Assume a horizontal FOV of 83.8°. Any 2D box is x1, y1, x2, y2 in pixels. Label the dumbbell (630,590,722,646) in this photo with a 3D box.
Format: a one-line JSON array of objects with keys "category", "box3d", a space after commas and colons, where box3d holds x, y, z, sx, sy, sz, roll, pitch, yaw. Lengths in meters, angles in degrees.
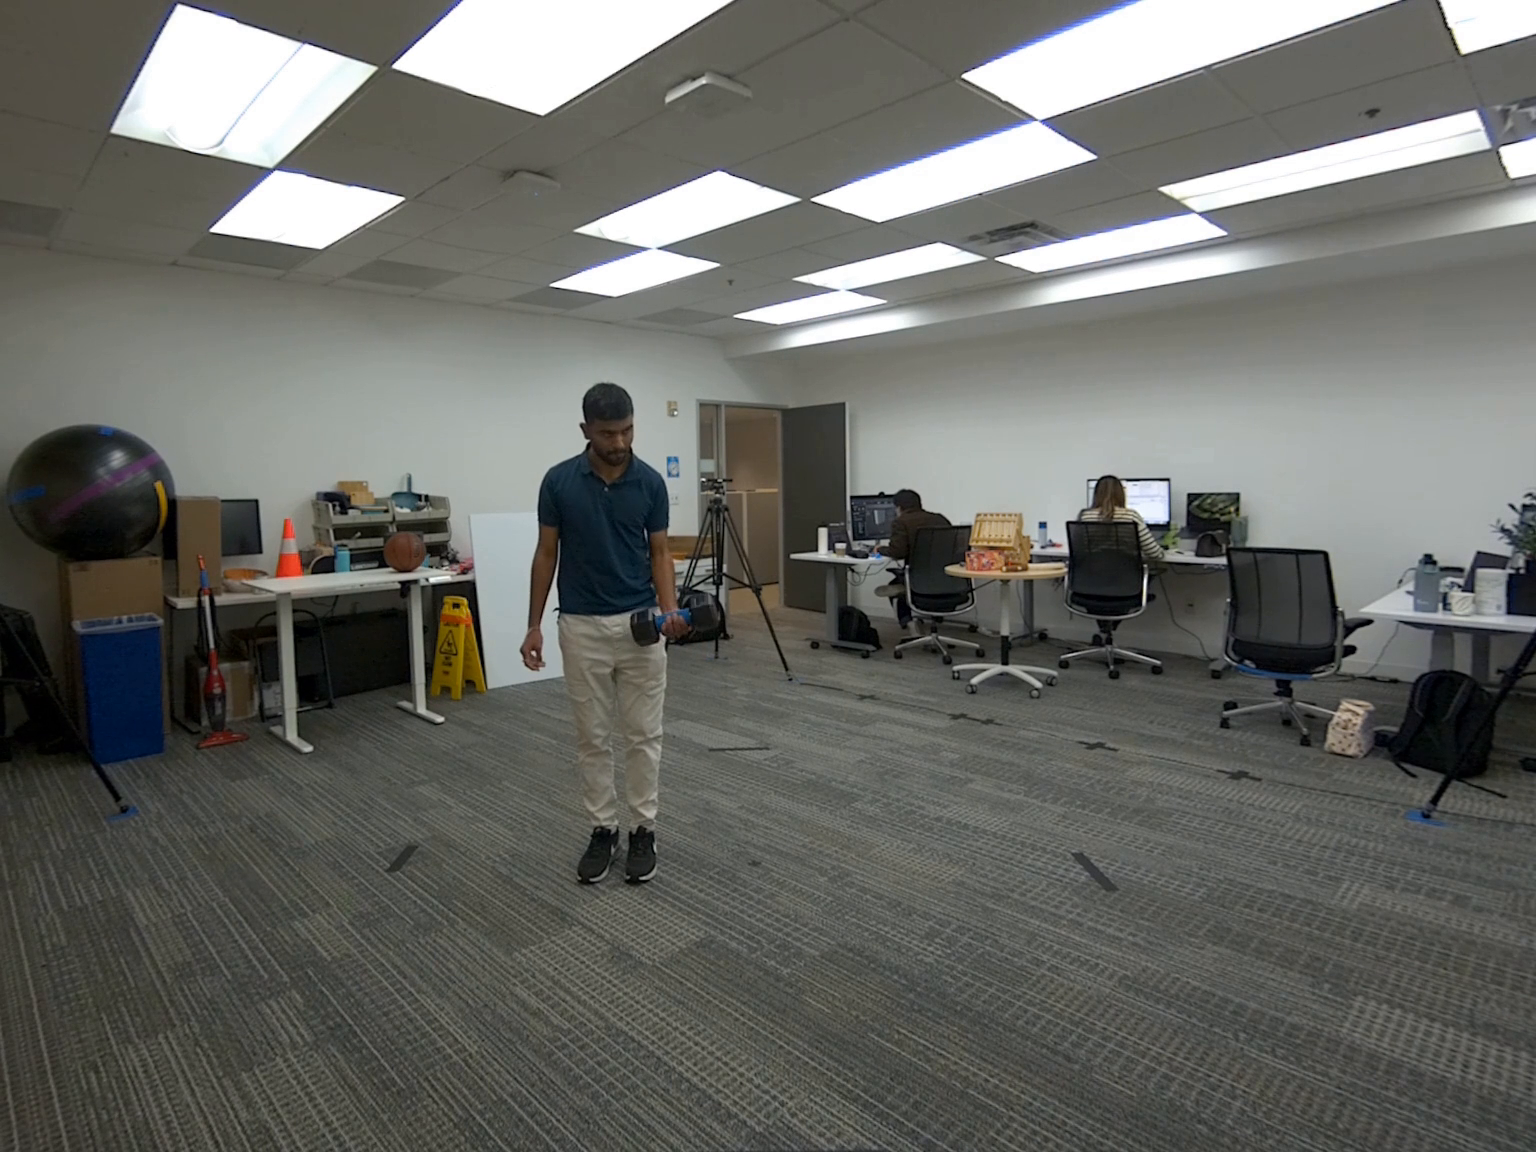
[{"category": "dumbbell", "box3d": [-0.328, 0.140, 2.916, 0.294, 0.105, 0.127, -14, 36, 3]}]
